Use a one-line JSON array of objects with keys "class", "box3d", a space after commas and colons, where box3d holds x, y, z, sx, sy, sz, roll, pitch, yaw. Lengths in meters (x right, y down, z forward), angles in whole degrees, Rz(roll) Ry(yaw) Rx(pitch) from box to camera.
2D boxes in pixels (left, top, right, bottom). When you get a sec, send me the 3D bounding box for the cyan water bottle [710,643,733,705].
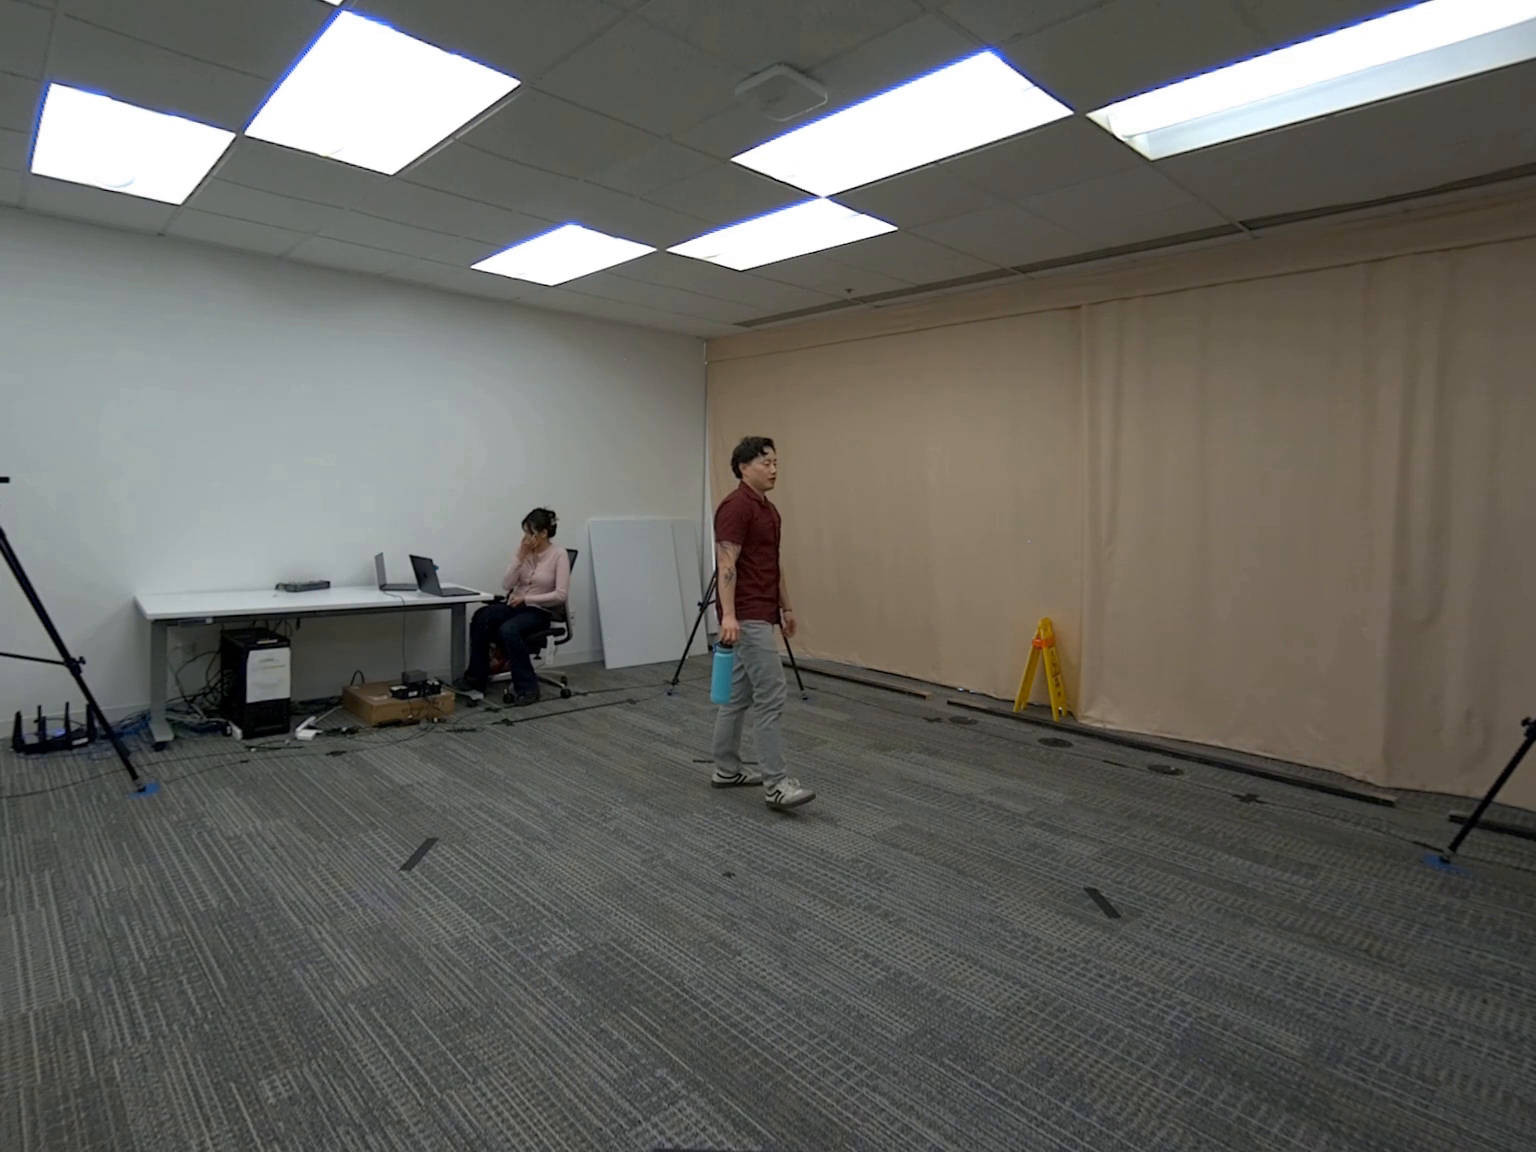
[{"class": "cyan water bottle", "box3d": [-0.215, 0.421, 3.735, 0.092, 0.282, 0.093, 3, 8, -2]}]
